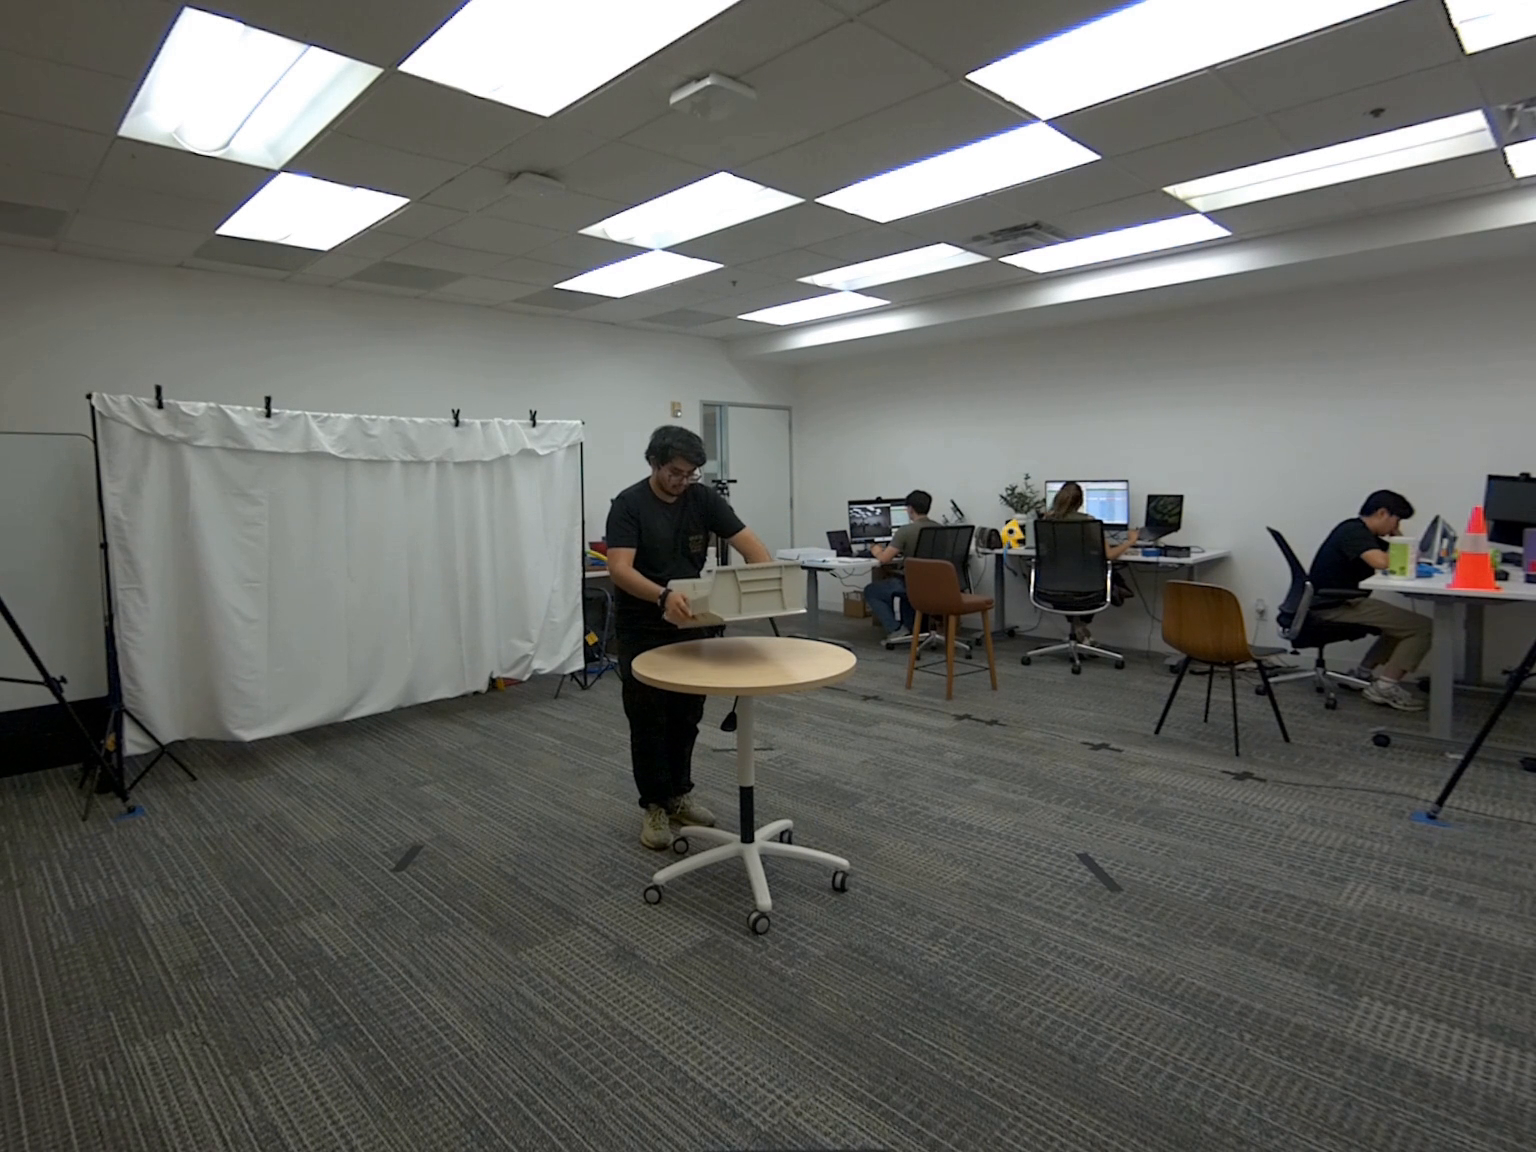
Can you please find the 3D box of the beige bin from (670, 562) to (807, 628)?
[{"bbox_3d":[-0.124,0.074,3.021,0.369,0.190,0.429,-3,-6,-27],"label":"beige bin"}]
